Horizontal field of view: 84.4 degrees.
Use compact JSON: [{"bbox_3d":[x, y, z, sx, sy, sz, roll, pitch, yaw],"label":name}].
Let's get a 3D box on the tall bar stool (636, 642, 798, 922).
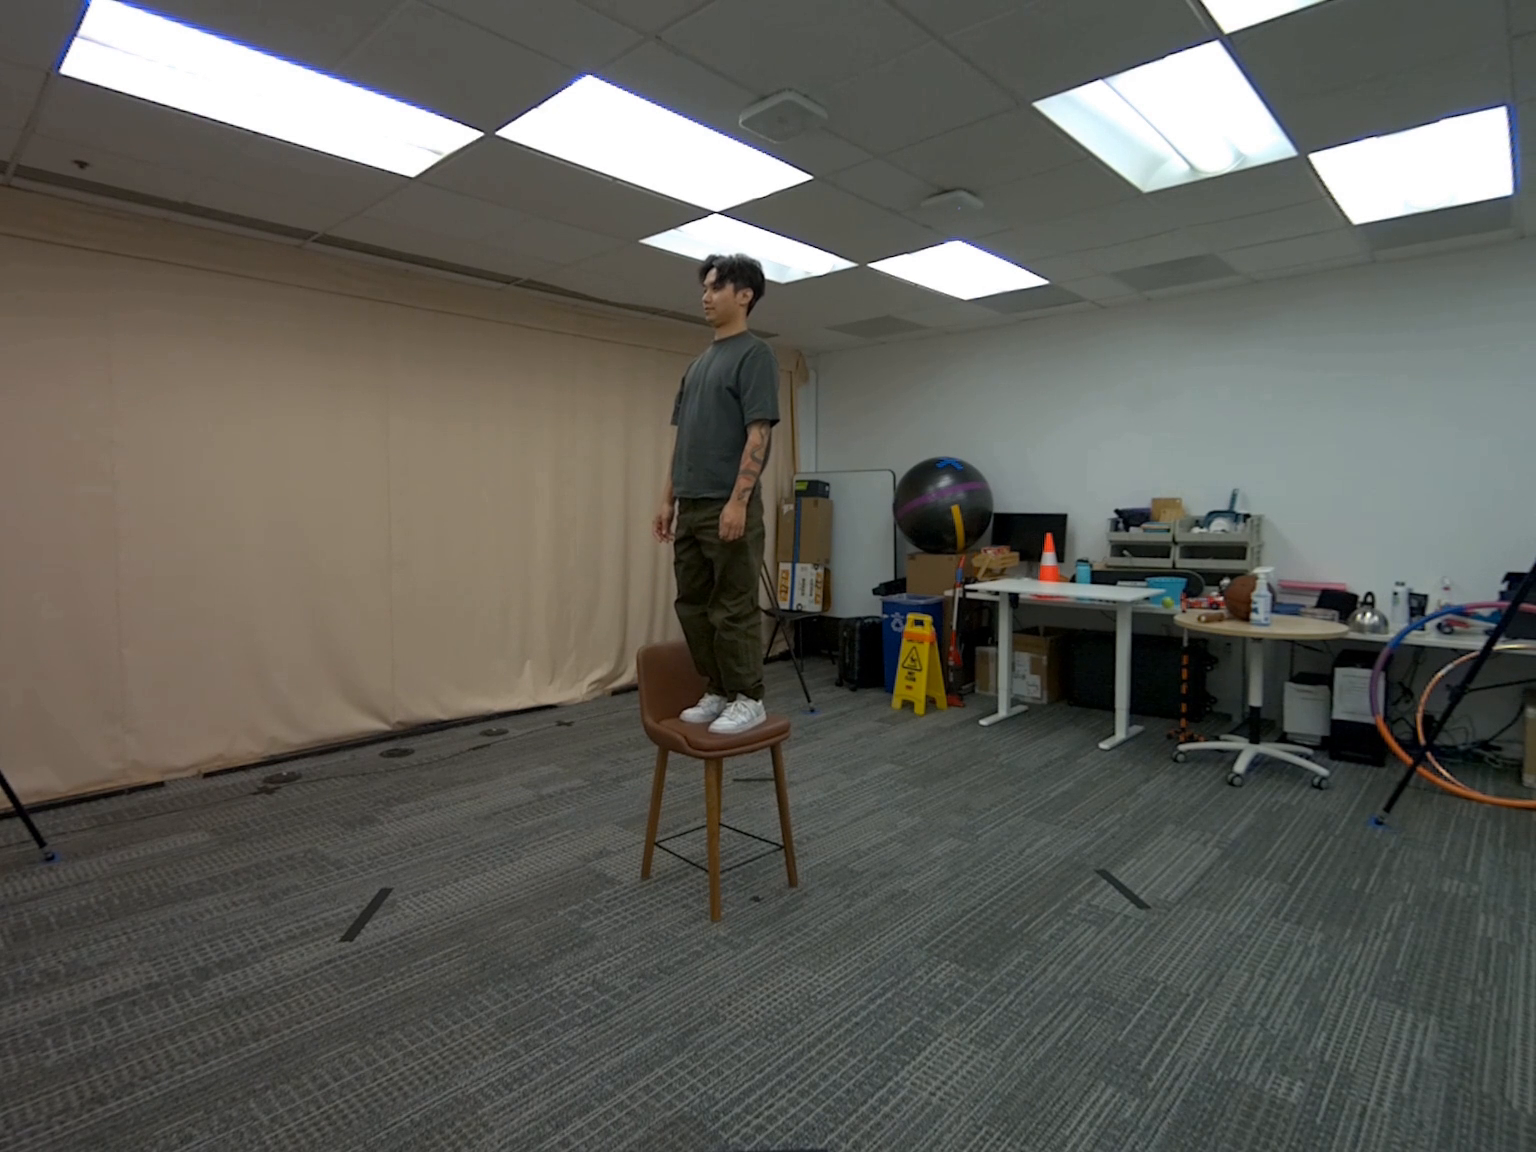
[{"bbox_3d":[-0.195,0.699,3.095,0.442,0.888,0.483,-3,3,-43],"label":"tall bar stool"}]
